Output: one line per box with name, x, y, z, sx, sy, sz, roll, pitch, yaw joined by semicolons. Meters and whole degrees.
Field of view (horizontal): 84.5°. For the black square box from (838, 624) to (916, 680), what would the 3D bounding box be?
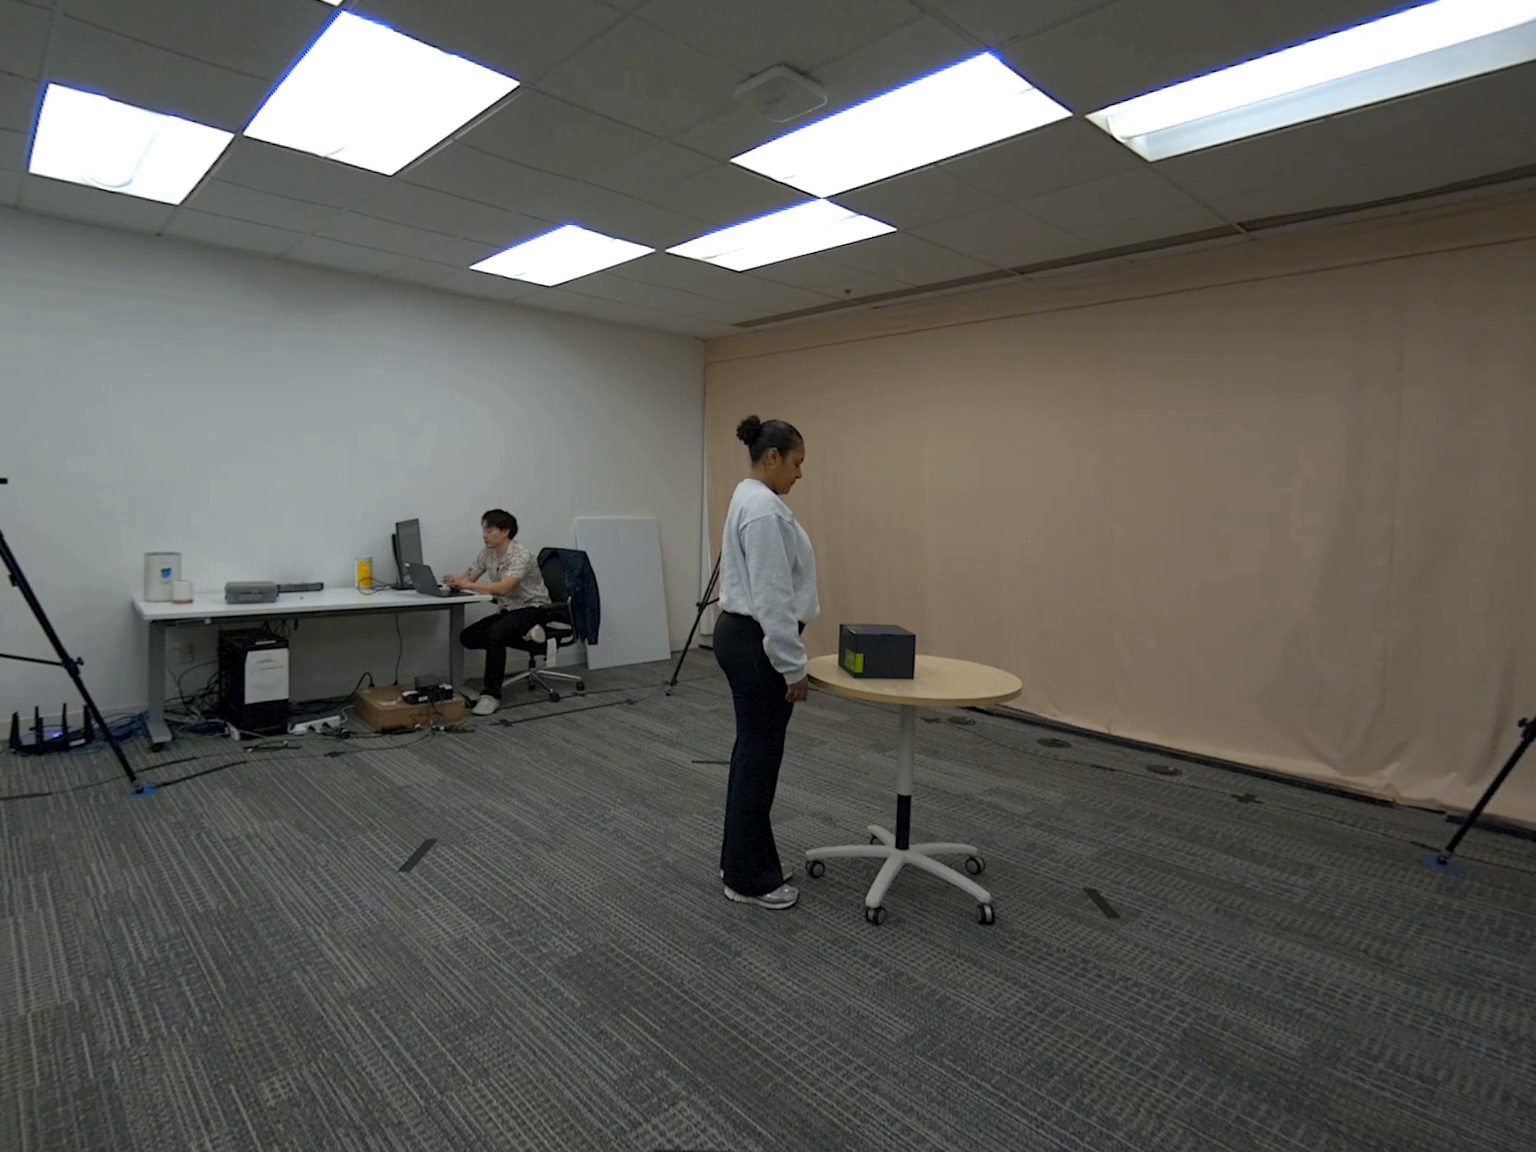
black square box;0.382;0.262;3.002;0.215;0.155;0.230;1;5;-8
